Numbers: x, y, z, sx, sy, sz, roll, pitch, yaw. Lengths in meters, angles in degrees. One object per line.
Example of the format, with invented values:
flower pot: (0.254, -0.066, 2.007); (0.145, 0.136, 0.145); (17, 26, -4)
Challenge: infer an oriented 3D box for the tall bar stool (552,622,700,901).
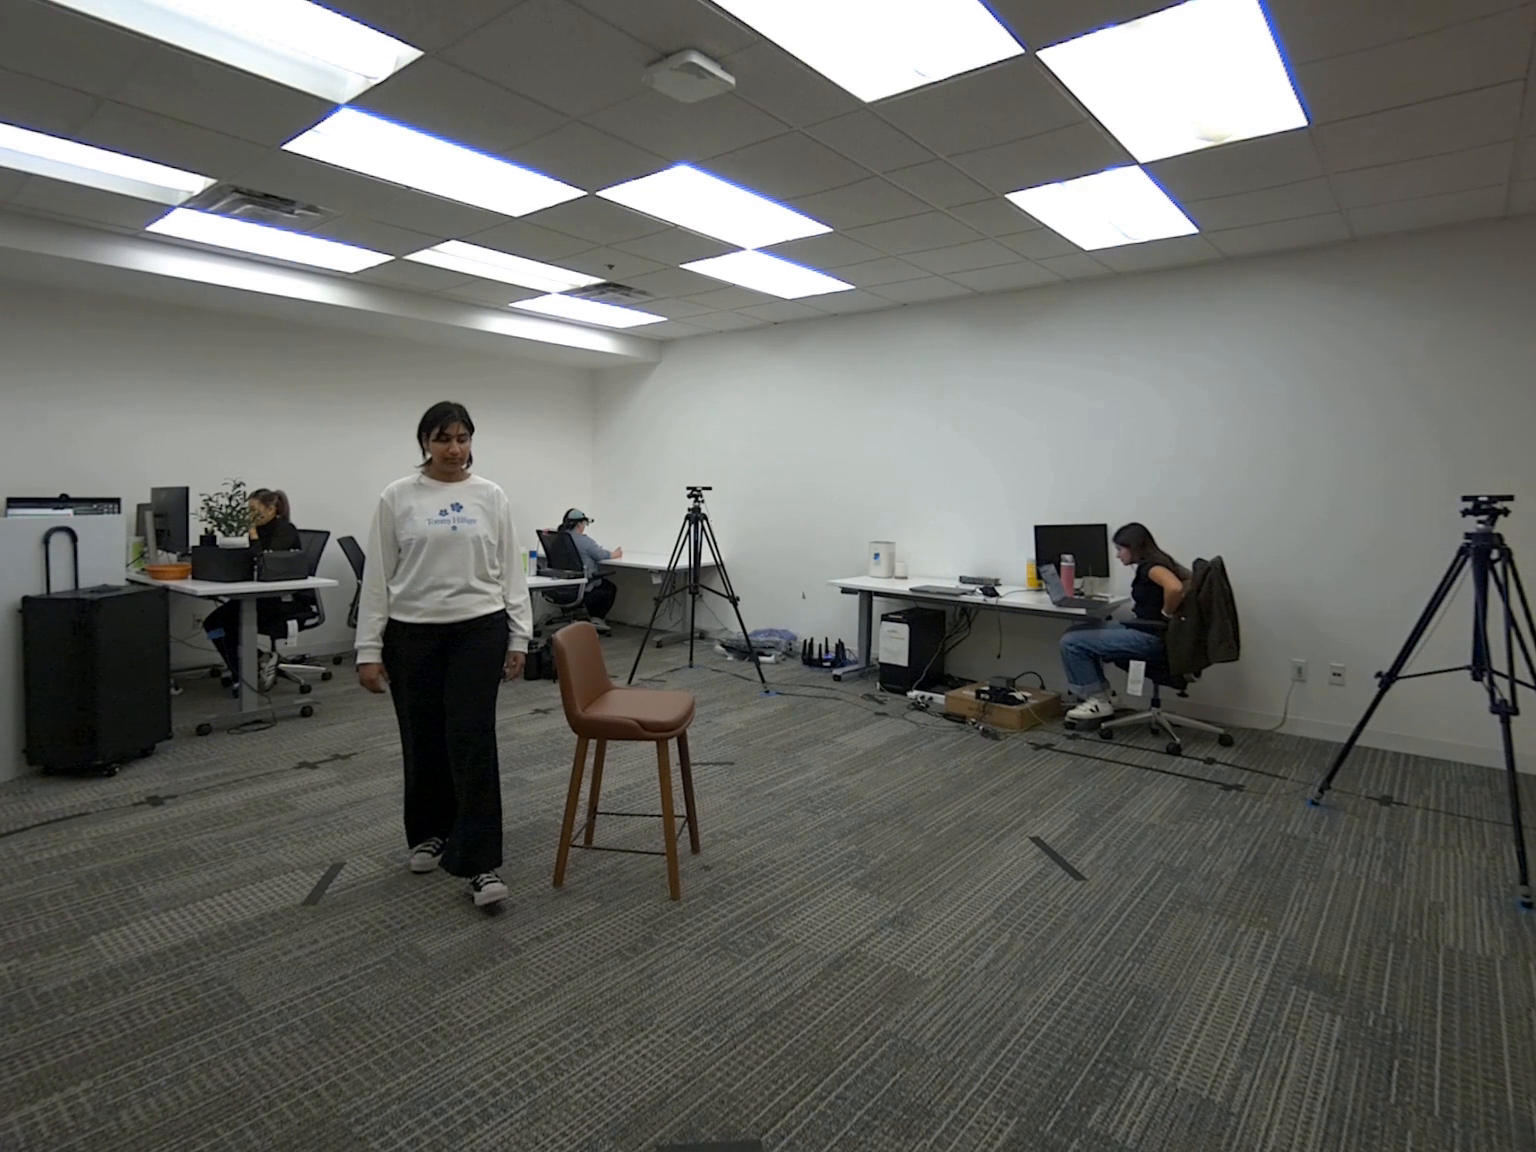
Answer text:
tall bar stool: (-0.508, 0.629, 3.065); (0.472, 0.887, 0.453); (-1, 3, 8)
